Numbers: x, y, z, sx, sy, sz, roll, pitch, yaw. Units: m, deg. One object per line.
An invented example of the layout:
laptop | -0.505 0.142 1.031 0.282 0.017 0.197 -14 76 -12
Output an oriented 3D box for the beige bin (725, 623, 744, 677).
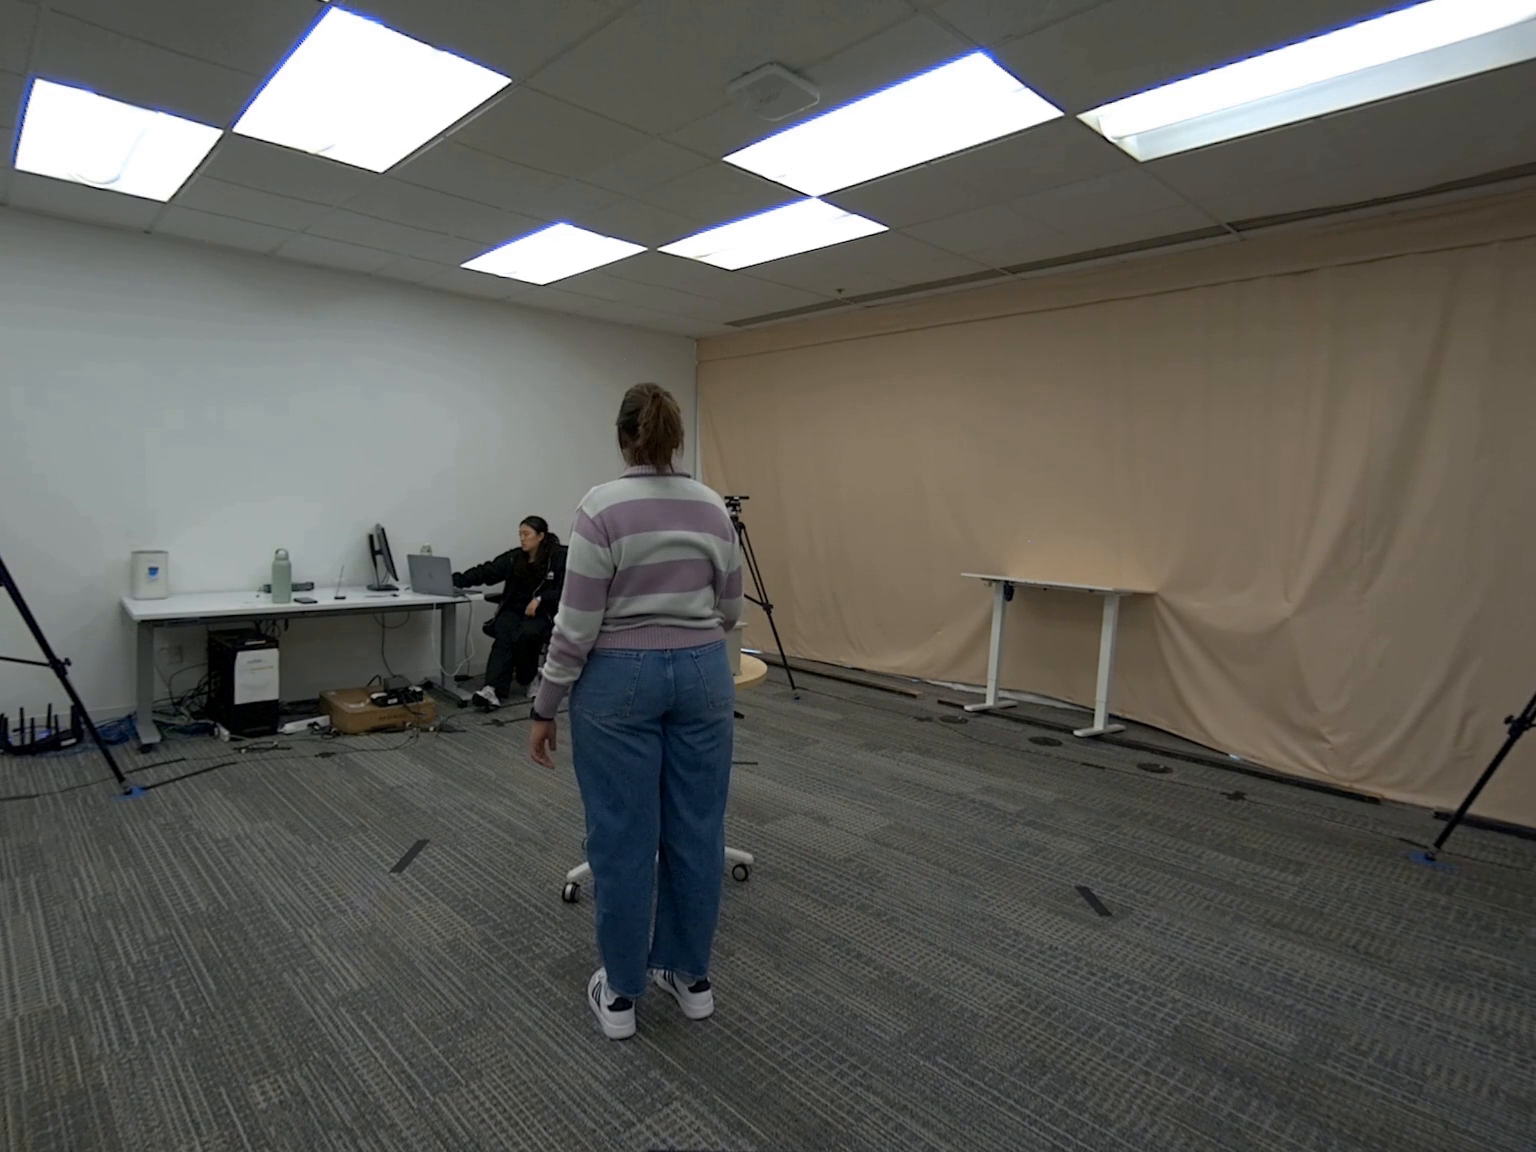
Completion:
beige bin | -0.355 0.250 2.910 0.413 0.188 0.387 -2 7 -39
